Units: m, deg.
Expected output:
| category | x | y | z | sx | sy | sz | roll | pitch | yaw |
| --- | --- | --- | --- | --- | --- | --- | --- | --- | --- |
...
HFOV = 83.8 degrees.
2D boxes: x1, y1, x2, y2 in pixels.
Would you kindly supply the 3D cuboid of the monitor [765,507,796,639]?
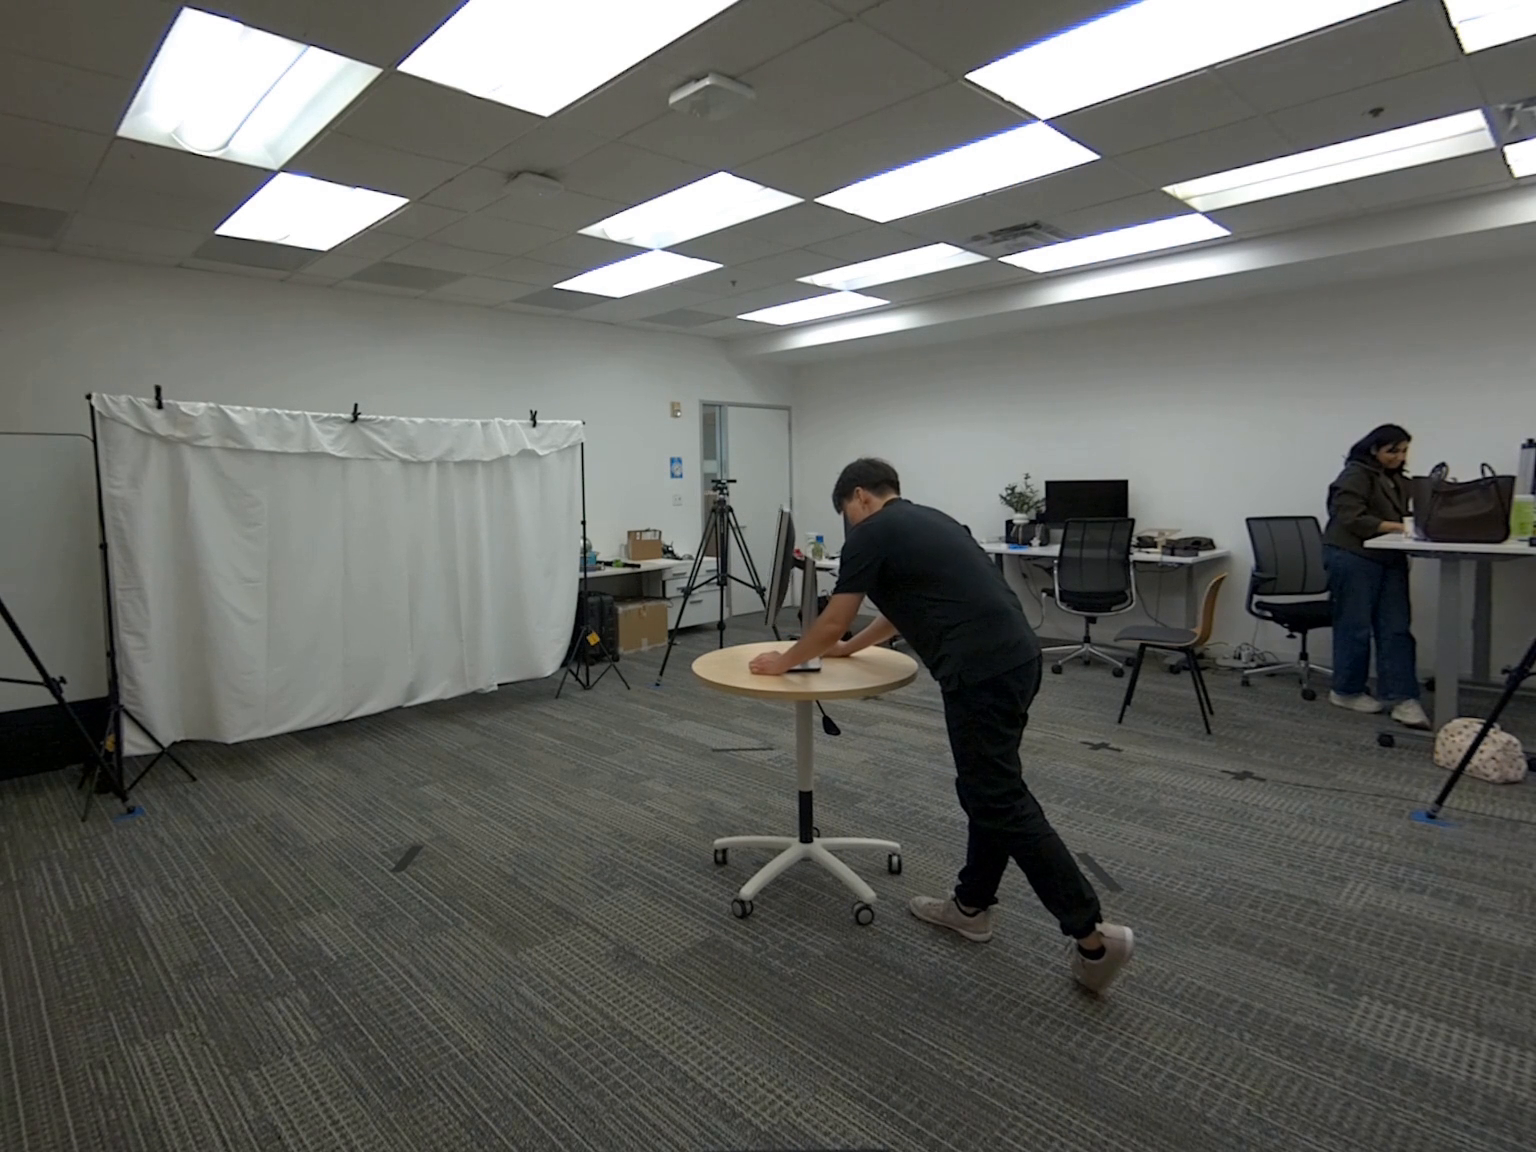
| category | x | y | z | sx | sy | sz | roll | pitch | yaw |
| --- | --- | --- | --- | --- | --- | --- | --- | --- | --- |
| monitor | 0.080 | 0.039 | 2.896 | 0.187 | 0.520 | 0.540 | -4 | 5 | 1 |
